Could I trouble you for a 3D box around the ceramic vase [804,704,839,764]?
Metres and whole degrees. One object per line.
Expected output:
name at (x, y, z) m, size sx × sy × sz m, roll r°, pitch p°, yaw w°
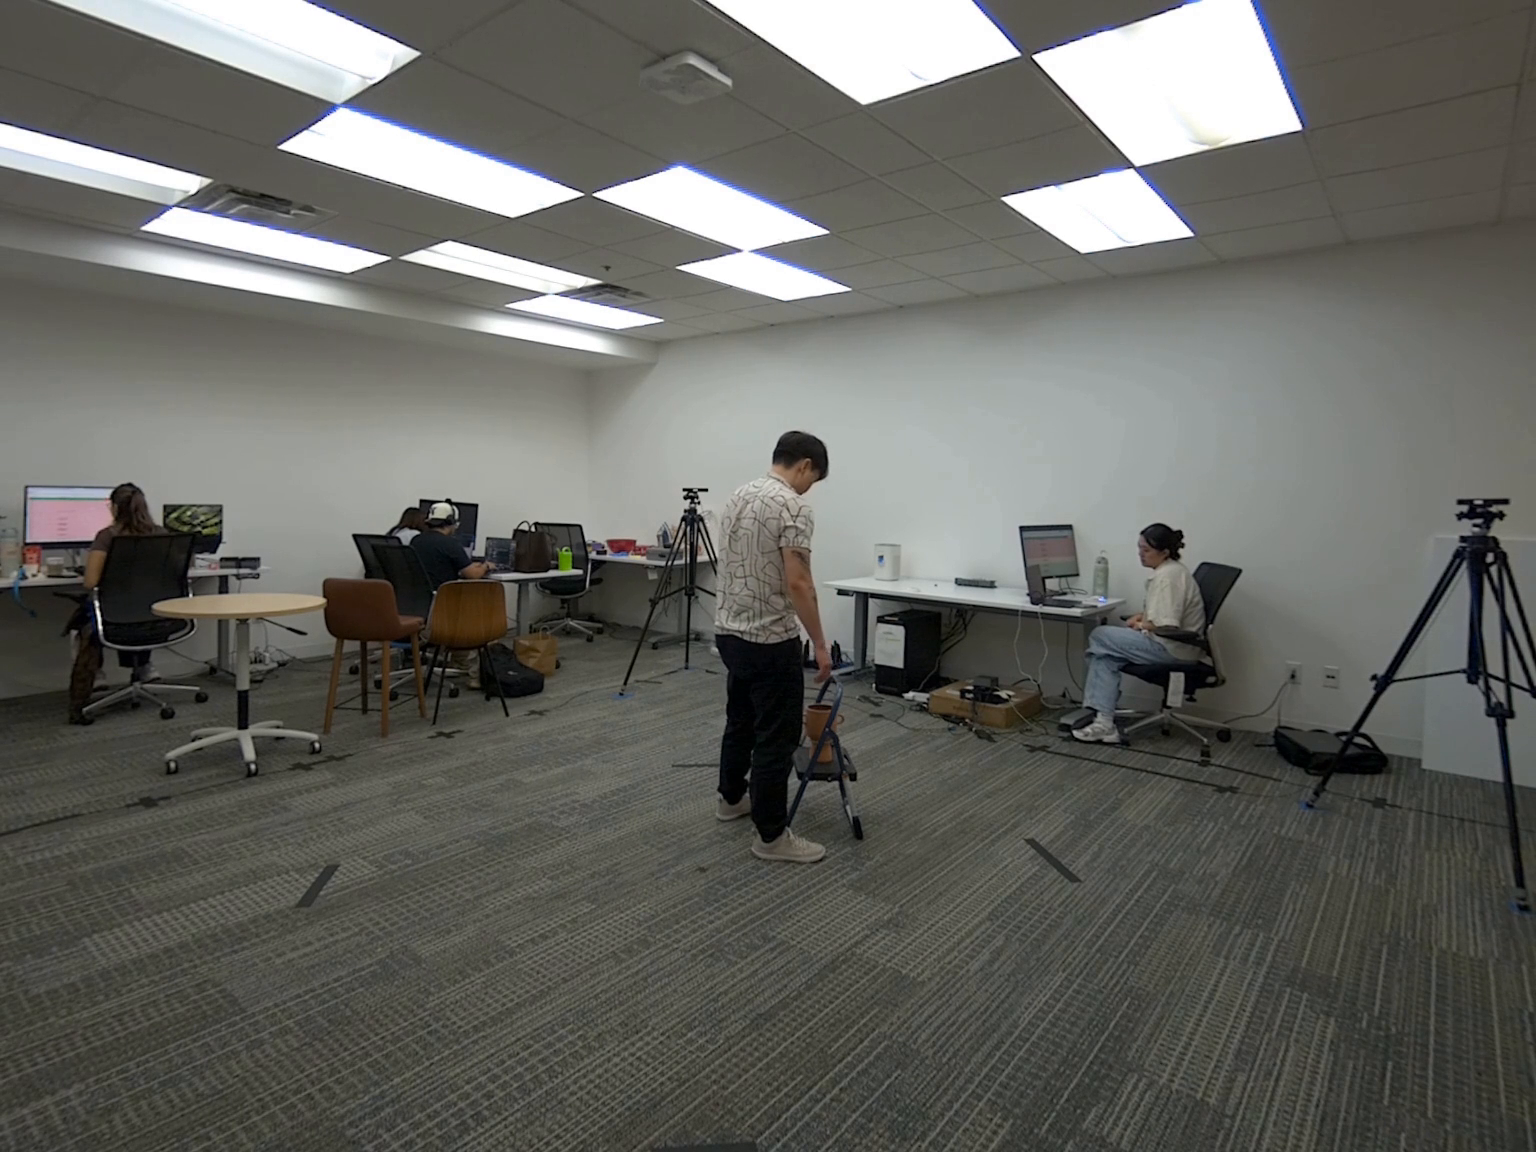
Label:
ceramic vase at (0.217, 0.656, 3.577) m, size 0.164 × 0.219 × 0.131 m, roll 4°, pitch 3°, yaw 34°
